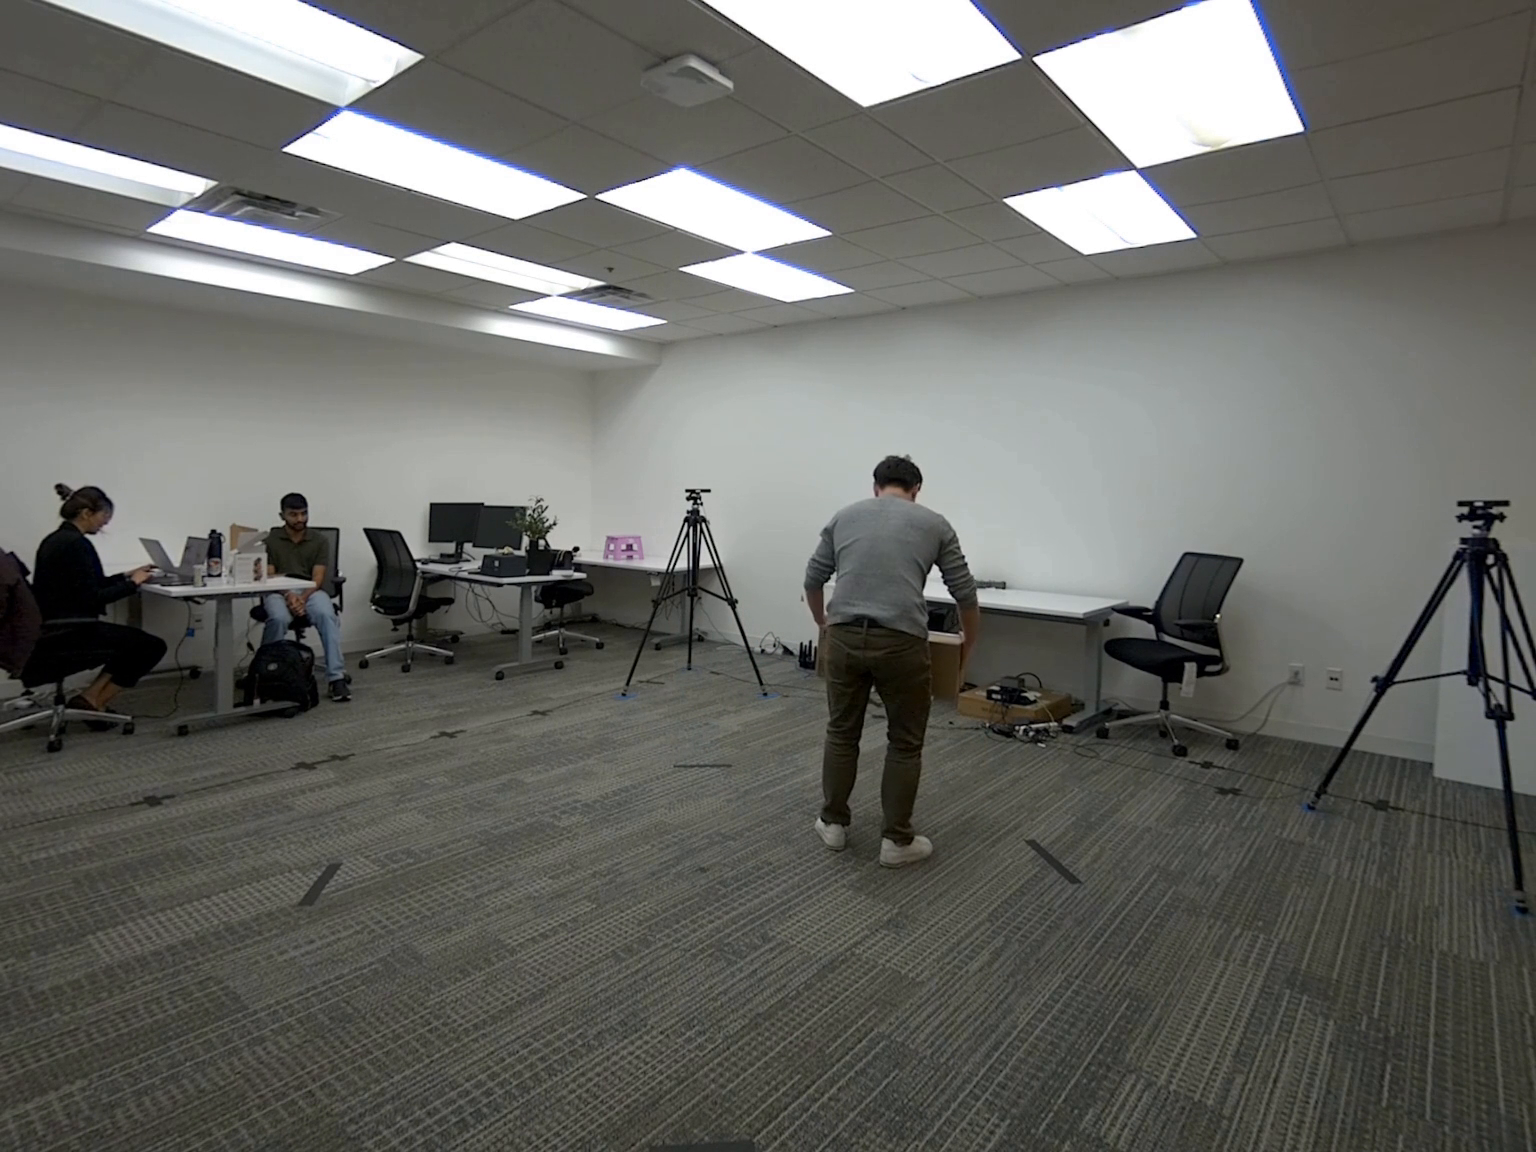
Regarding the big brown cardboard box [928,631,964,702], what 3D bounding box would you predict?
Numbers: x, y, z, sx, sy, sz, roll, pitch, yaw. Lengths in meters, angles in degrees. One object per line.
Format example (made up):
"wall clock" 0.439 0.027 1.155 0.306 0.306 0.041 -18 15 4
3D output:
"big brown cardboard box" 0.531 0.333 3.598 0.601 0.233 0.409 5 3 18
